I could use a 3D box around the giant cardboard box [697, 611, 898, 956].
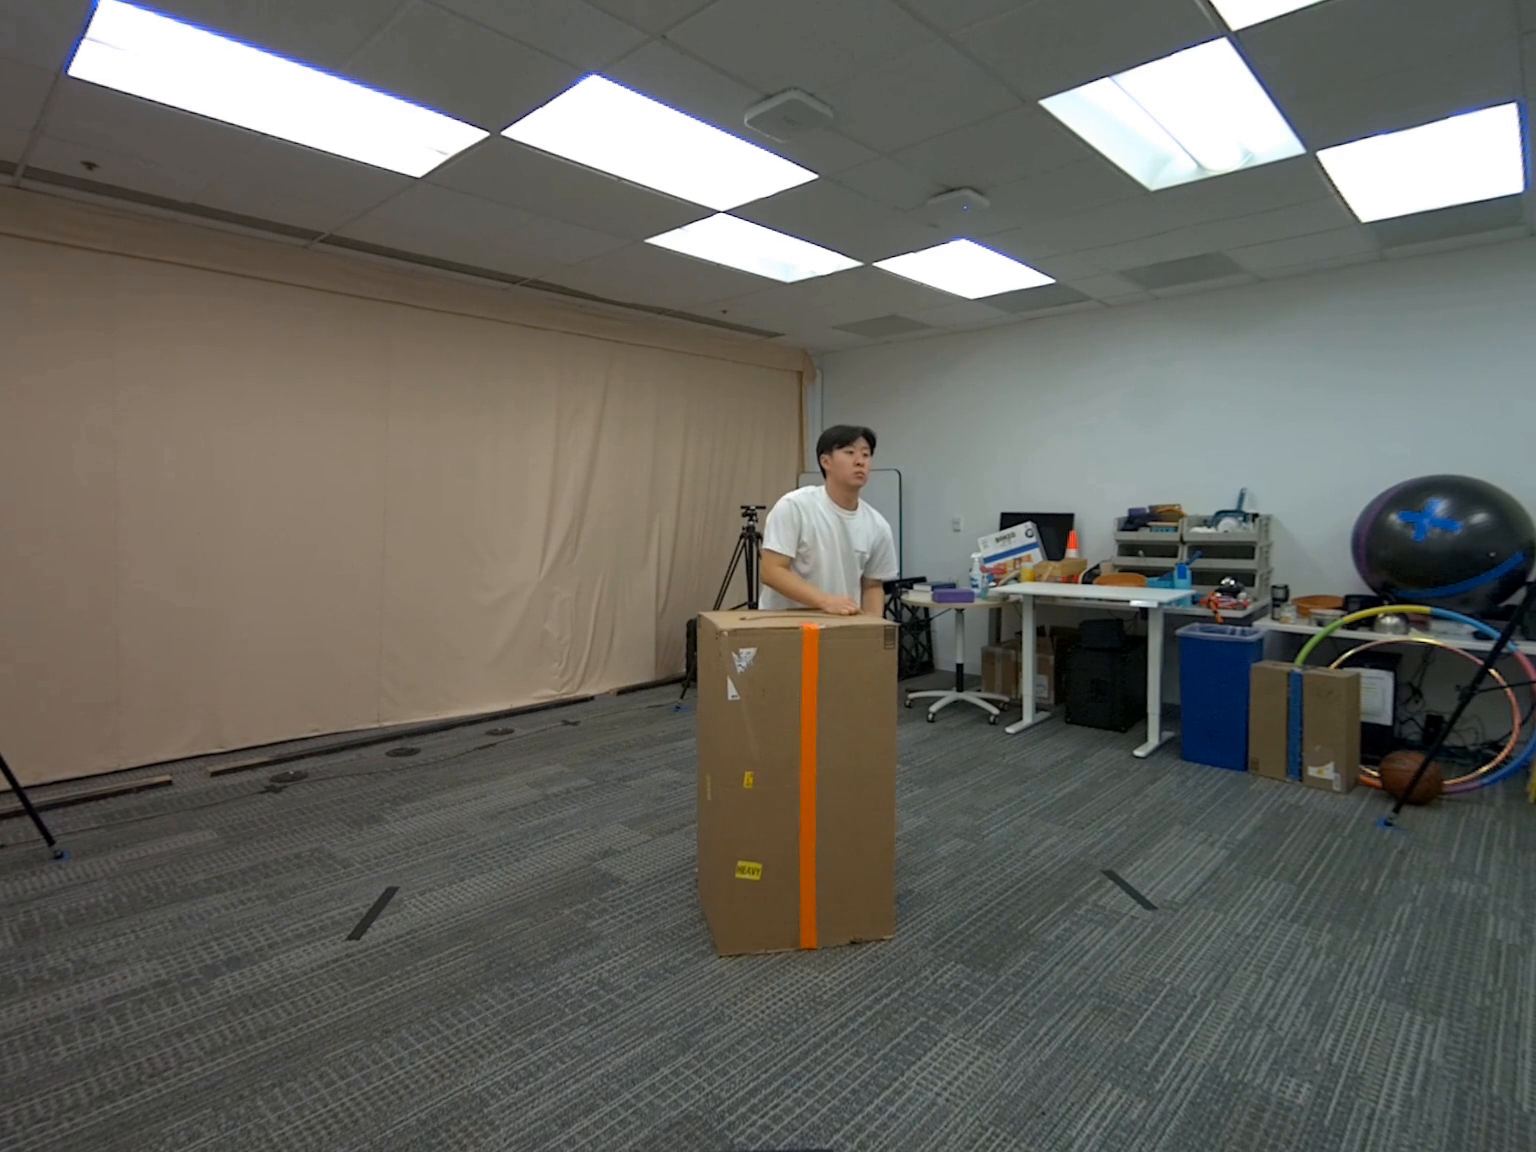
[{"bbox_3d":[0.085,0.641,2.829,0.570,1.024,0.432,0,3,-12],"label":"giant cardboard box"}]
